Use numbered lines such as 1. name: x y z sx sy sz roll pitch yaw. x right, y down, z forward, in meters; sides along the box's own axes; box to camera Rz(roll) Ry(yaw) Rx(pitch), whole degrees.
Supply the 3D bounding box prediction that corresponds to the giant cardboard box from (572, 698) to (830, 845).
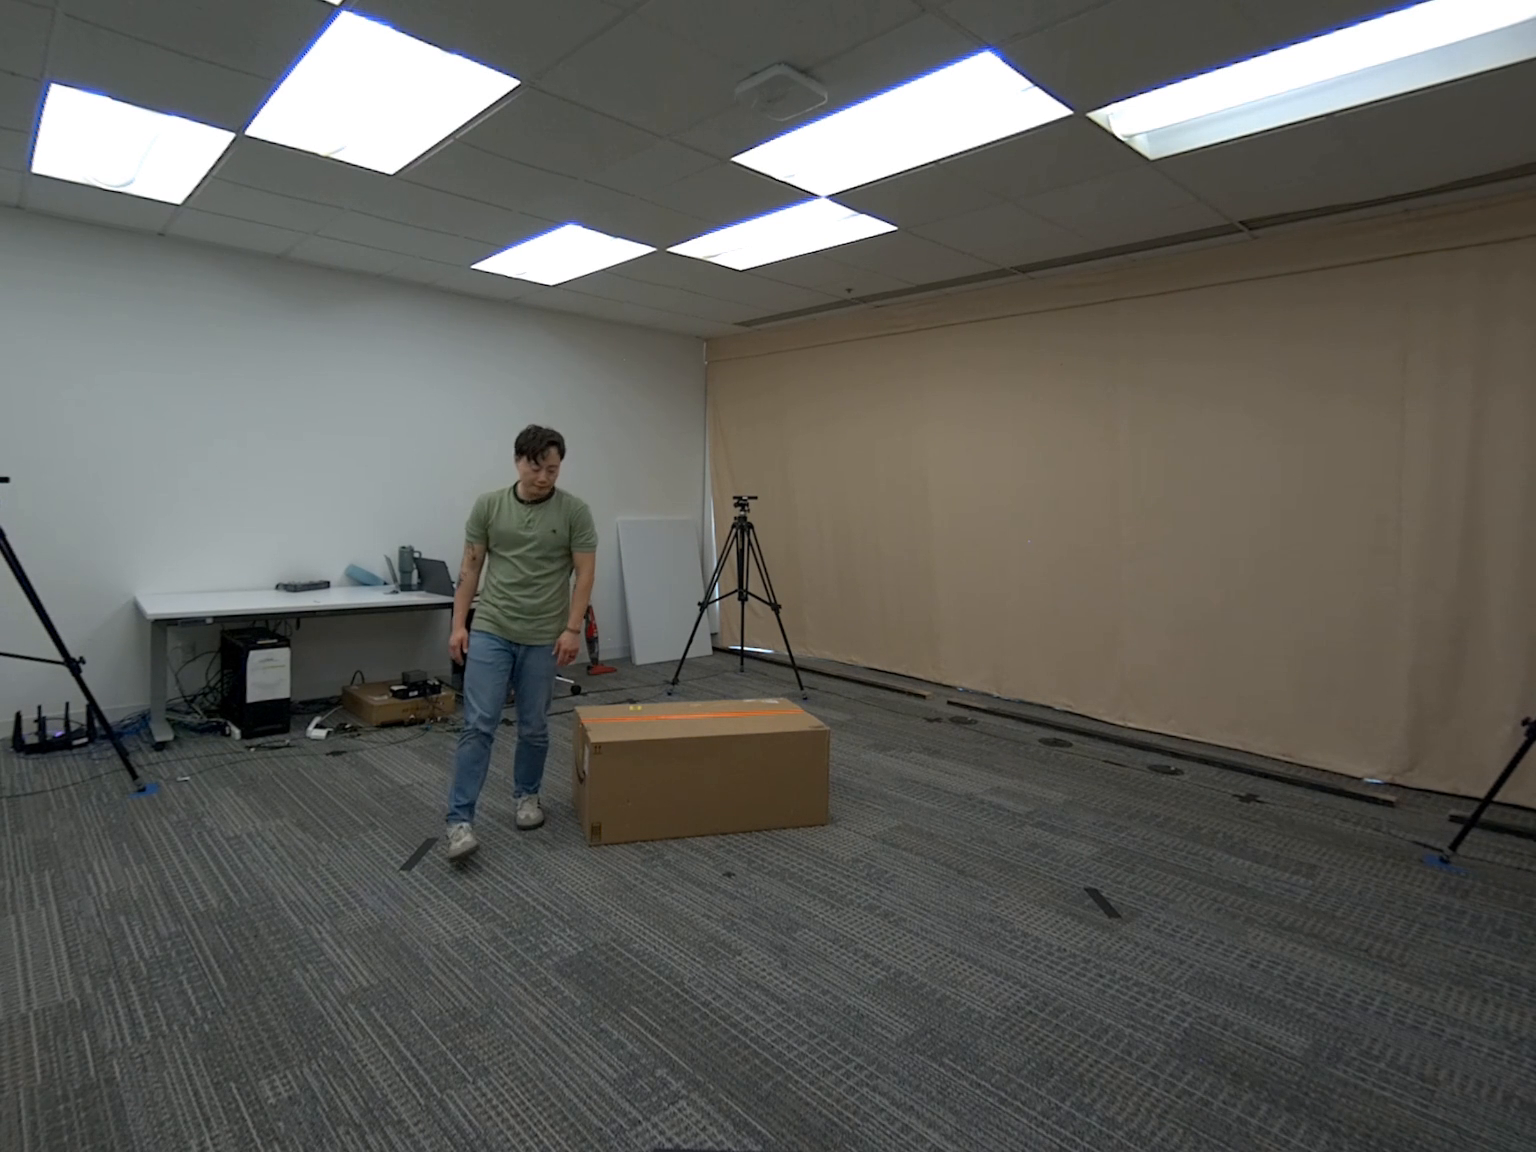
1. giant cardboard box: -0.321 0.827 3.721 1.012 0.425 0.586 0 4 -18
